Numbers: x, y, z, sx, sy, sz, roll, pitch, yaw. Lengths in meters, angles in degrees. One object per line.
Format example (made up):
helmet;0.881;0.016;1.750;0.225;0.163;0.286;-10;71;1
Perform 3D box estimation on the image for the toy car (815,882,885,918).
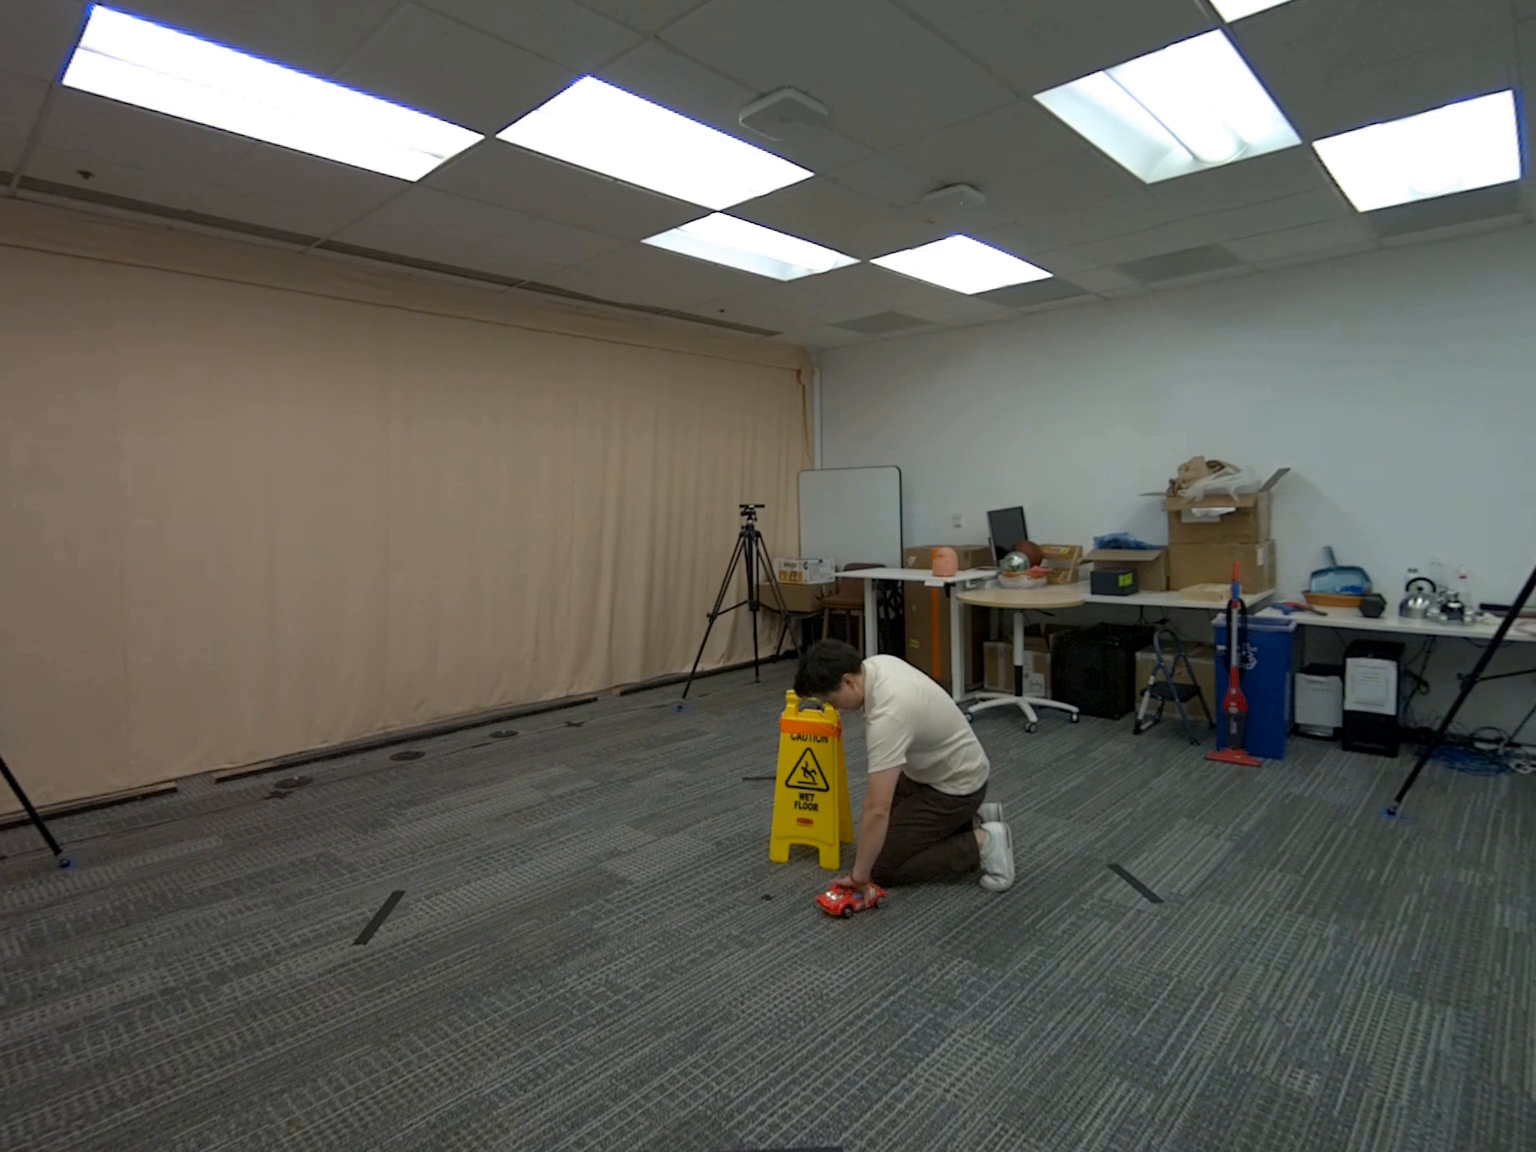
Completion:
toy car;0.277;1.099;2.894;0.247;0.083;0.134;9;0;-29
